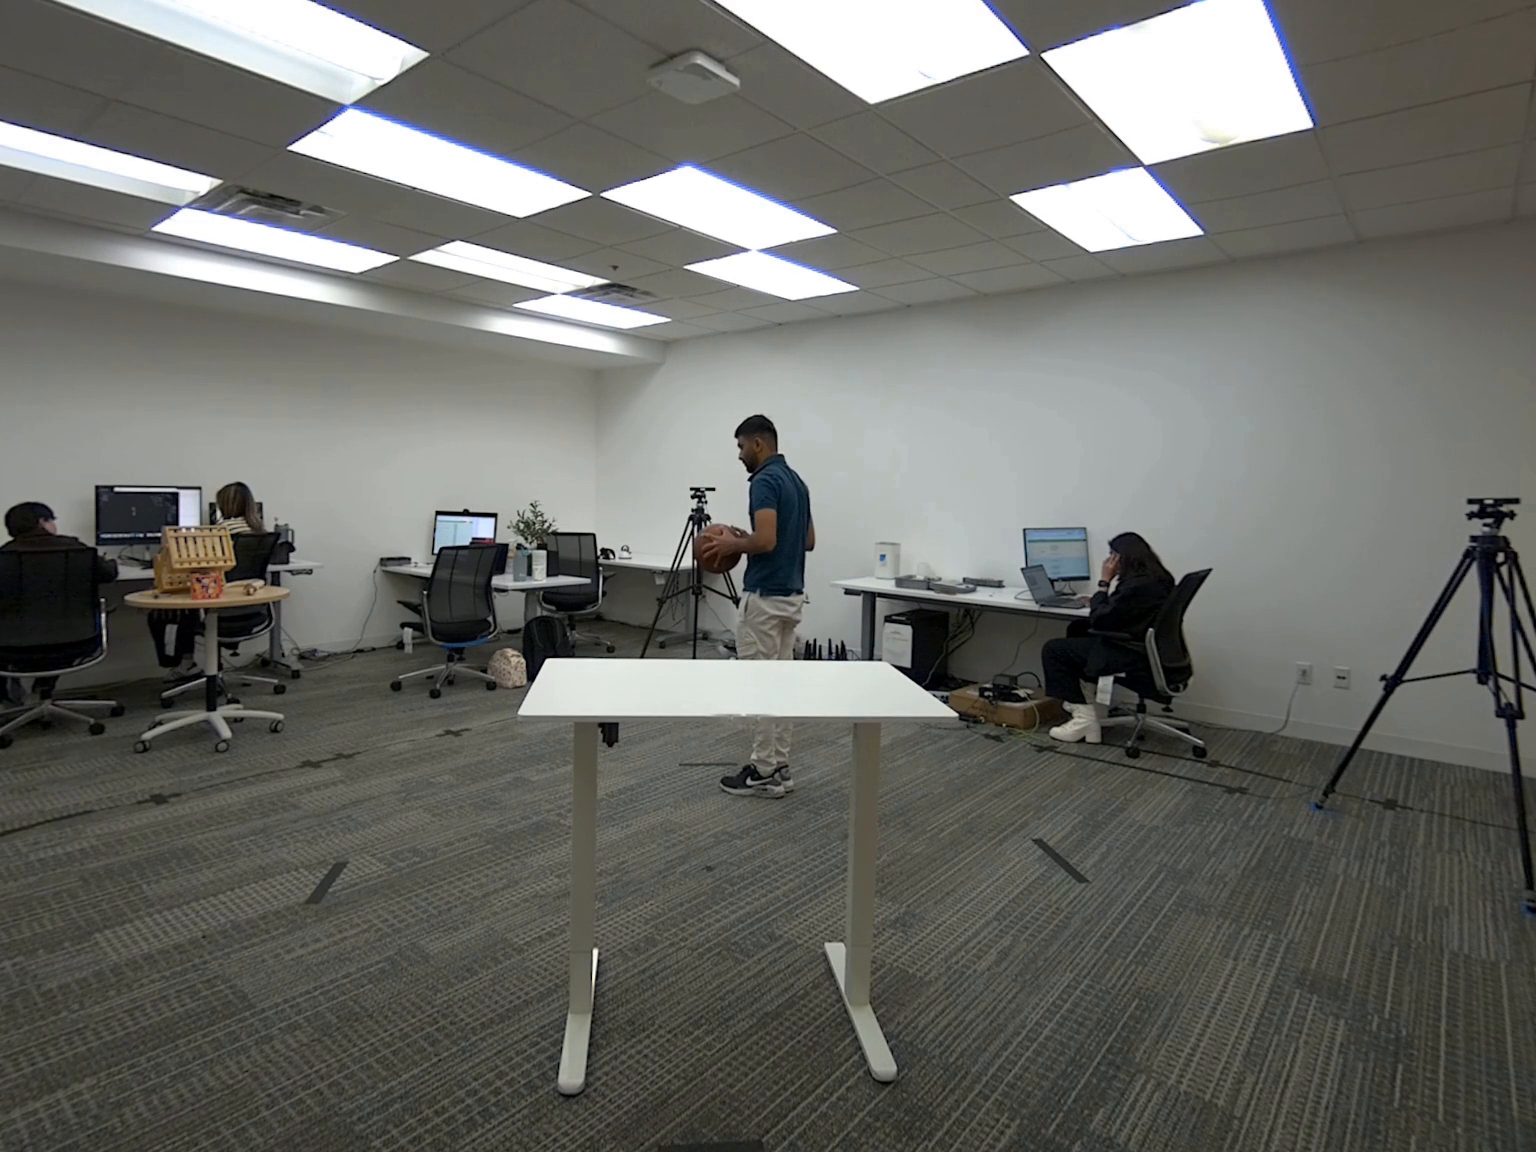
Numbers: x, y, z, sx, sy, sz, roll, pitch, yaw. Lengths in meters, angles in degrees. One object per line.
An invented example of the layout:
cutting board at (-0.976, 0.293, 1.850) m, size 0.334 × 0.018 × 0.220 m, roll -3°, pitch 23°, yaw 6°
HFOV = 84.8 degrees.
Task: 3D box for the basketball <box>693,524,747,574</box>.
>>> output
basketball at (-0.251, -0.128, 4.056) m, size 0.235 × 0.235 × 0.237 m, roll 1°, pitch 4°, yaw -2°
